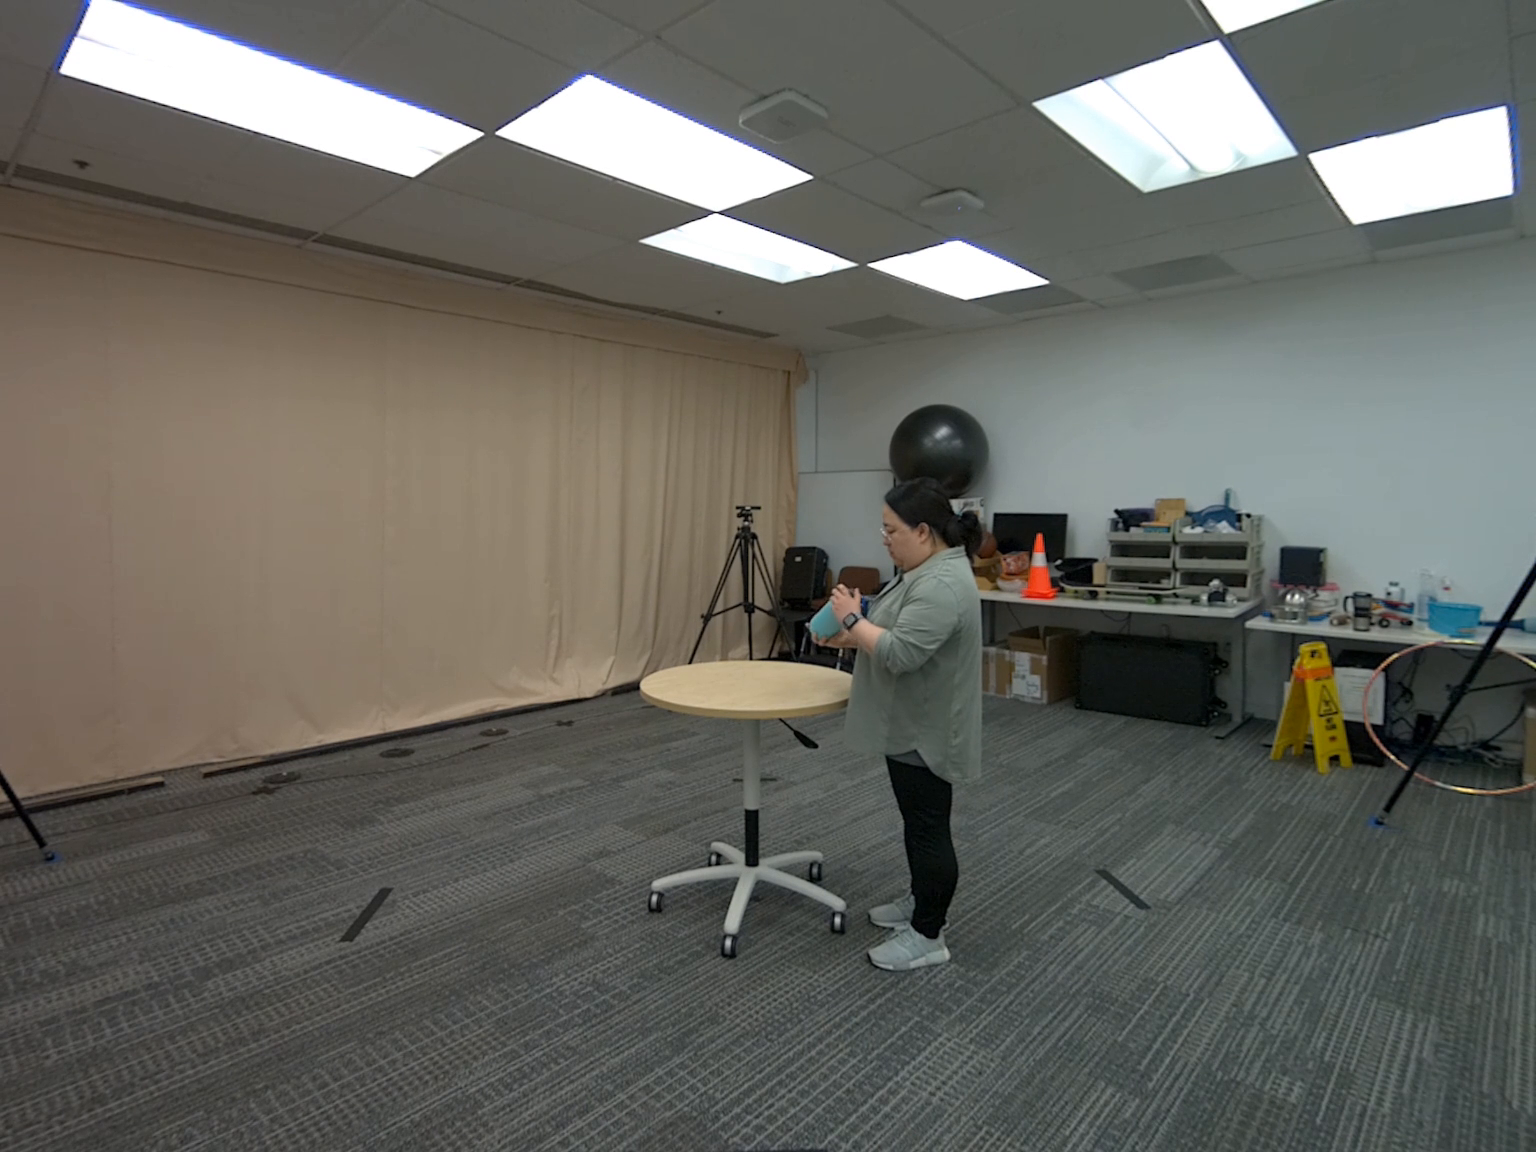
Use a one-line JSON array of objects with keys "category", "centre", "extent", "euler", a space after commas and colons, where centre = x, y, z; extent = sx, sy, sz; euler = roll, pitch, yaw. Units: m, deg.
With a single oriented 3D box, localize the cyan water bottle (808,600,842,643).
[{"category": "cyan water bottle", "centre": [0.230, 0.118, 2.680], "extent": [0.091, 0.094, 0.283], "euler": [0, -26, -16]}]
